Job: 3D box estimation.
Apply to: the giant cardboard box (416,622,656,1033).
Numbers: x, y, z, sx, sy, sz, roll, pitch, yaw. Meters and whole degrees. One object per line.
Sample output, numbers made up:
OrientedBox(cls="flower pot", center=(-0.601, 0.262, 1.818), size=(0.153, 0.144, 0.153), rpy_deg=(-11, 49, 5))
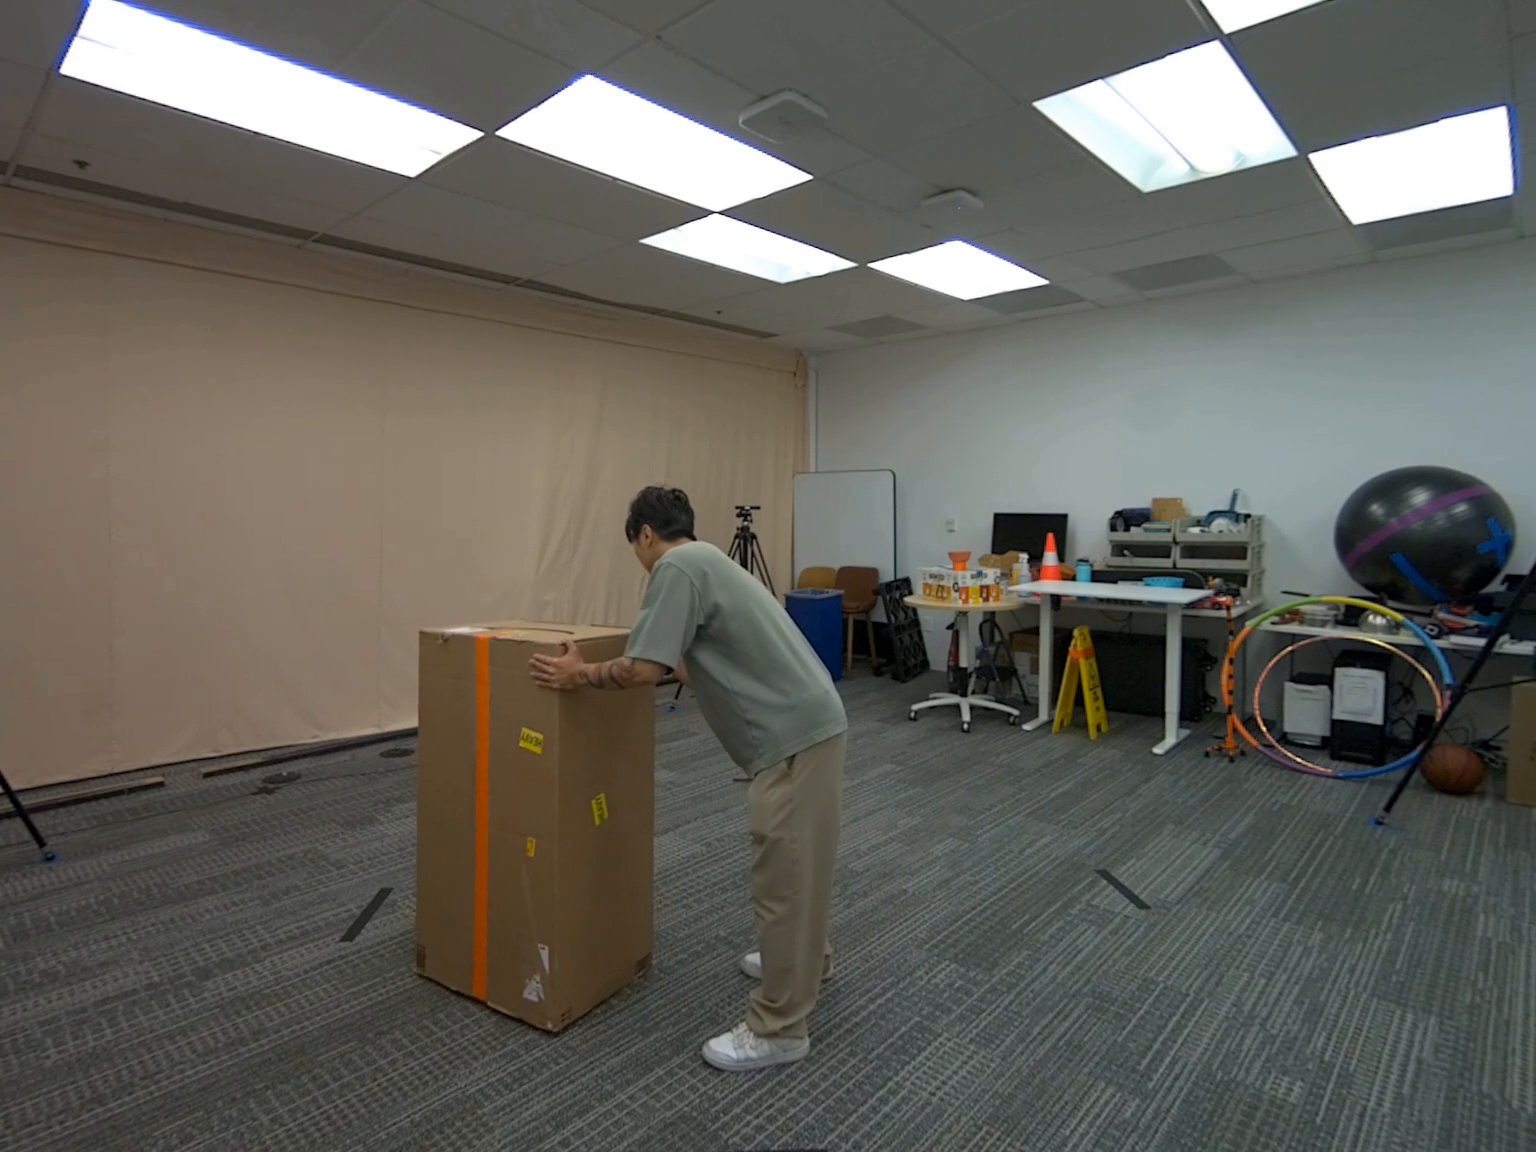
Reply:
OrientedBox(cls="giant cardboard box", center=(-0.696, 0.676, 2.522), size=(0.594, 1.025, 0.414), rpy_deg=(1, 1, 31))
